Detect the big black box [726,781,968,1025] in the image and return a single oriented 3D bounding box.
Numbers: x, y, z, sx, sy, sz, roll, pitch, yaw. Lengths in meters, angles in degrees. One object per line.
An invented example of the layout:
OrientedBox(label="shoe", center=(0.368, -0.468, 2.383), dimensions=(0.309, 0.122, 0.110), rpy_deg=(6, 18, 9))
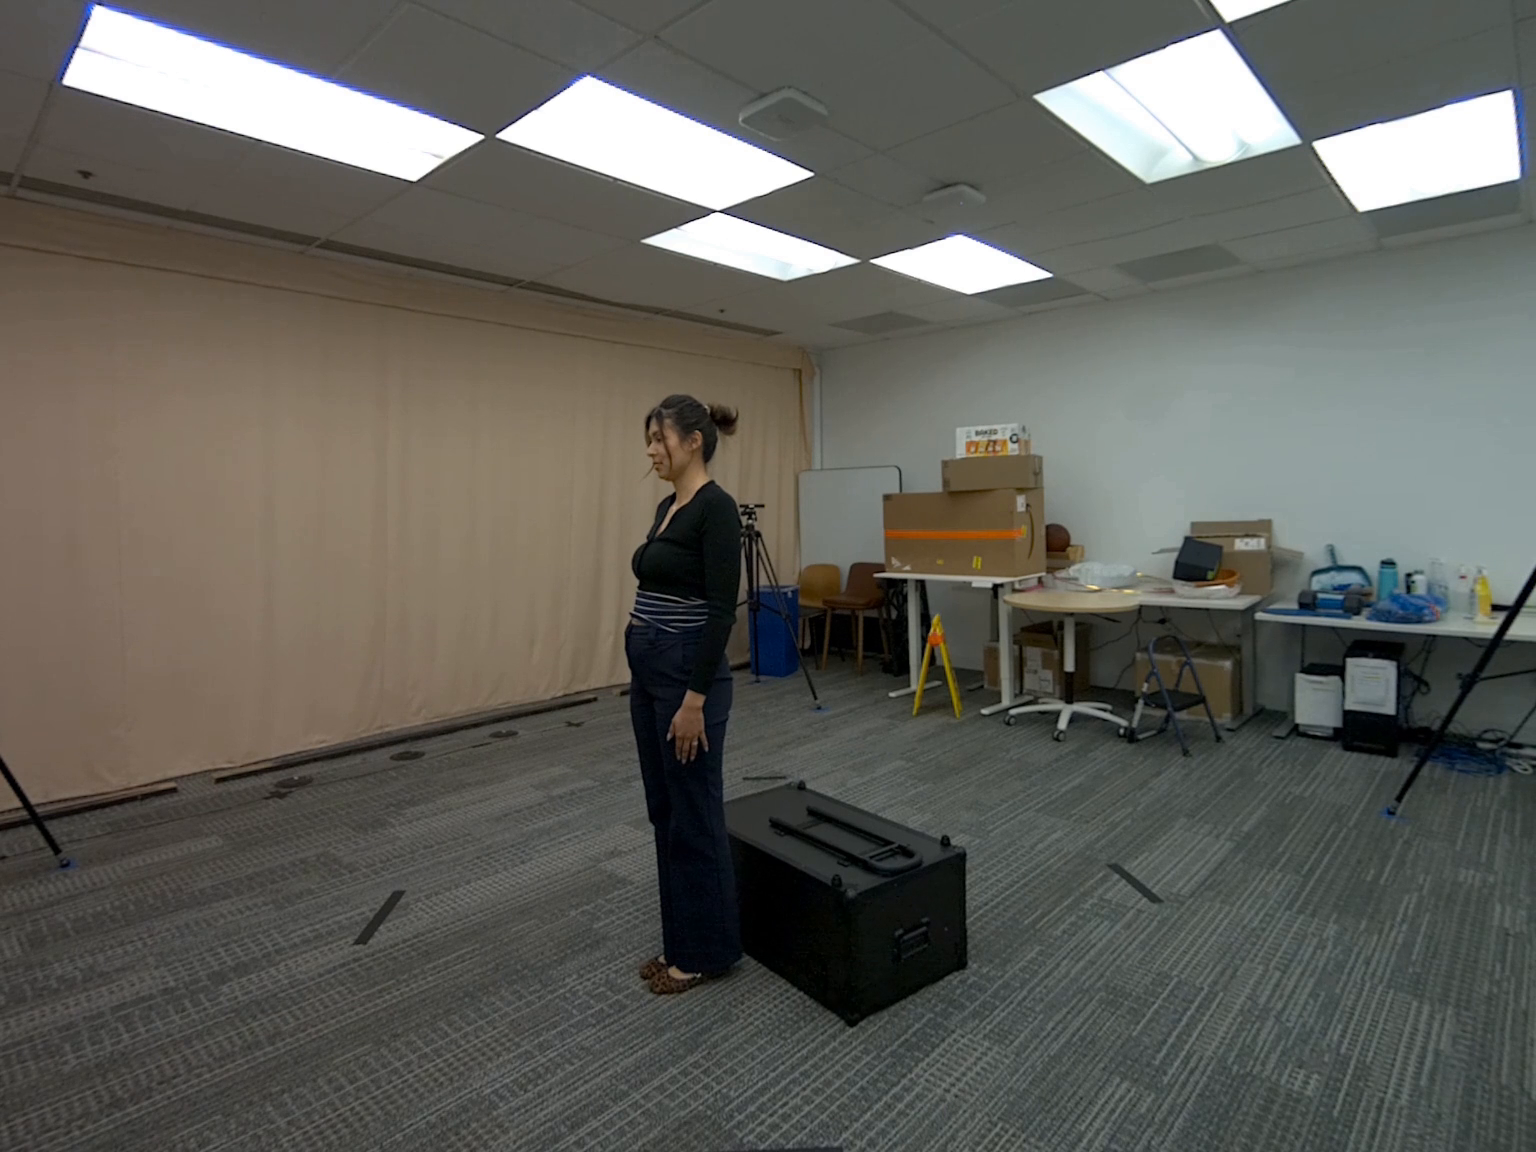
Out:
OrientedBox(label="big black box", center=(0.180, 0.989, 2.654), dimensions=(0.506, 0.395, 0.889), rpy_deg=(-4, 6, -37))
